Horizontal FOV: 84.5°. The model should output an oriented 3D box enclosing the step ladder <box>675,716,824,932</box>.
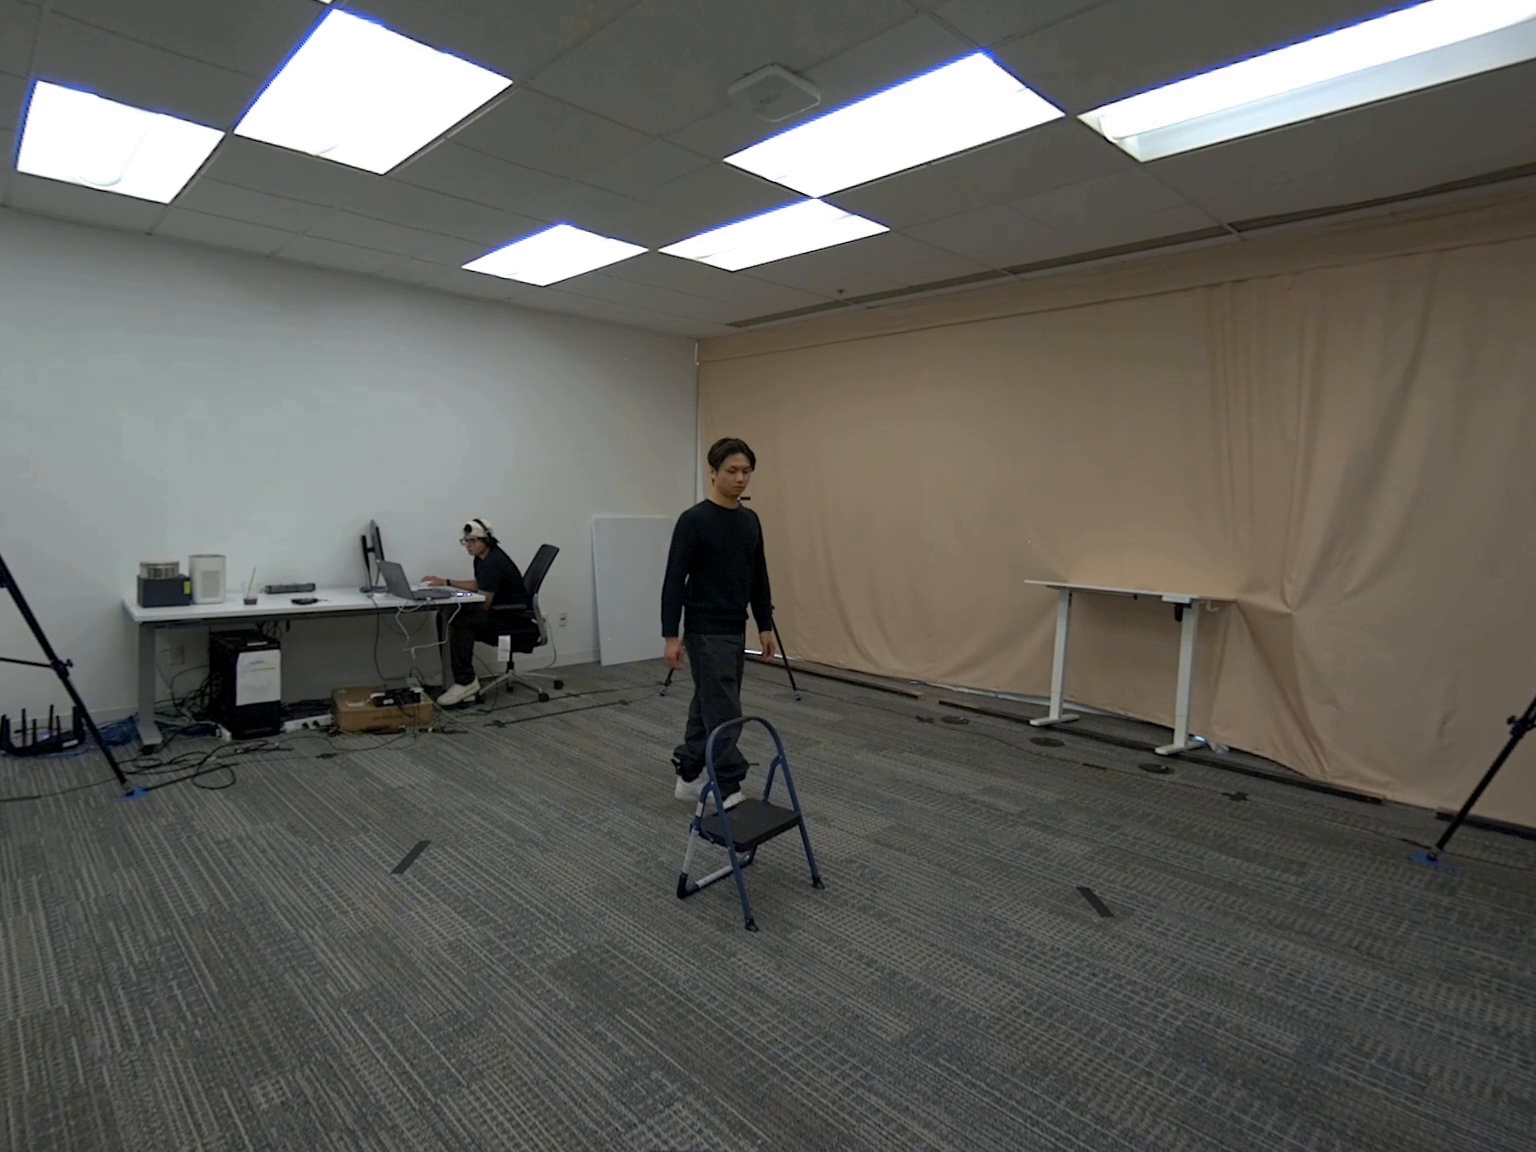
[{"bbox_3d":[-0.054,0.827,2.954,0.358,0.604,0.422,5,6,36],"label":"step ladder"}]
